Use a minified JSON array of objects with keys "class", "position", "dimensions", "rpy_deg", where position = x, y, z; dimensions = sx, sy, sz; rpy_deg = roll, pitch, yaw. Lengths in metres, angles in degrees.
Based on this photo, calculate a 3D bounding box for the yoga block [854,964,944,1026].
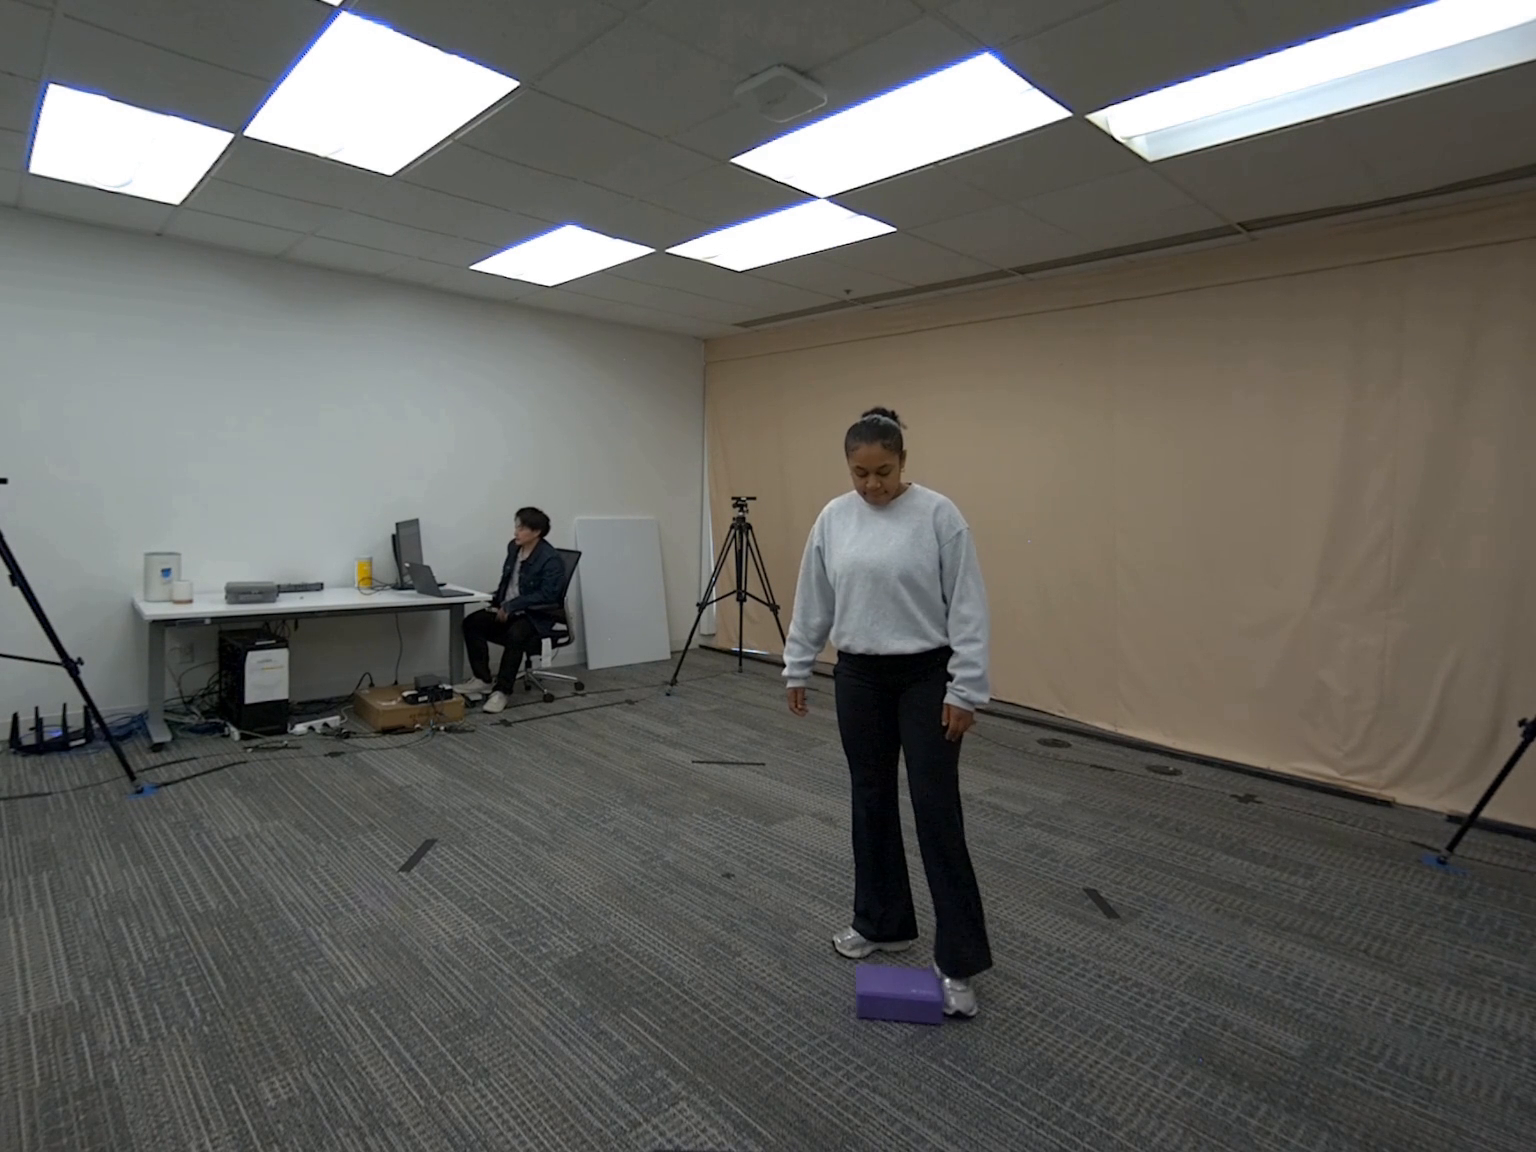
[{"class":"yoga block","position":[0.354,1.148,2.327],"dimensions":[0.231,0.076,0.148],"rpy_deg":[2,5,7]}]
